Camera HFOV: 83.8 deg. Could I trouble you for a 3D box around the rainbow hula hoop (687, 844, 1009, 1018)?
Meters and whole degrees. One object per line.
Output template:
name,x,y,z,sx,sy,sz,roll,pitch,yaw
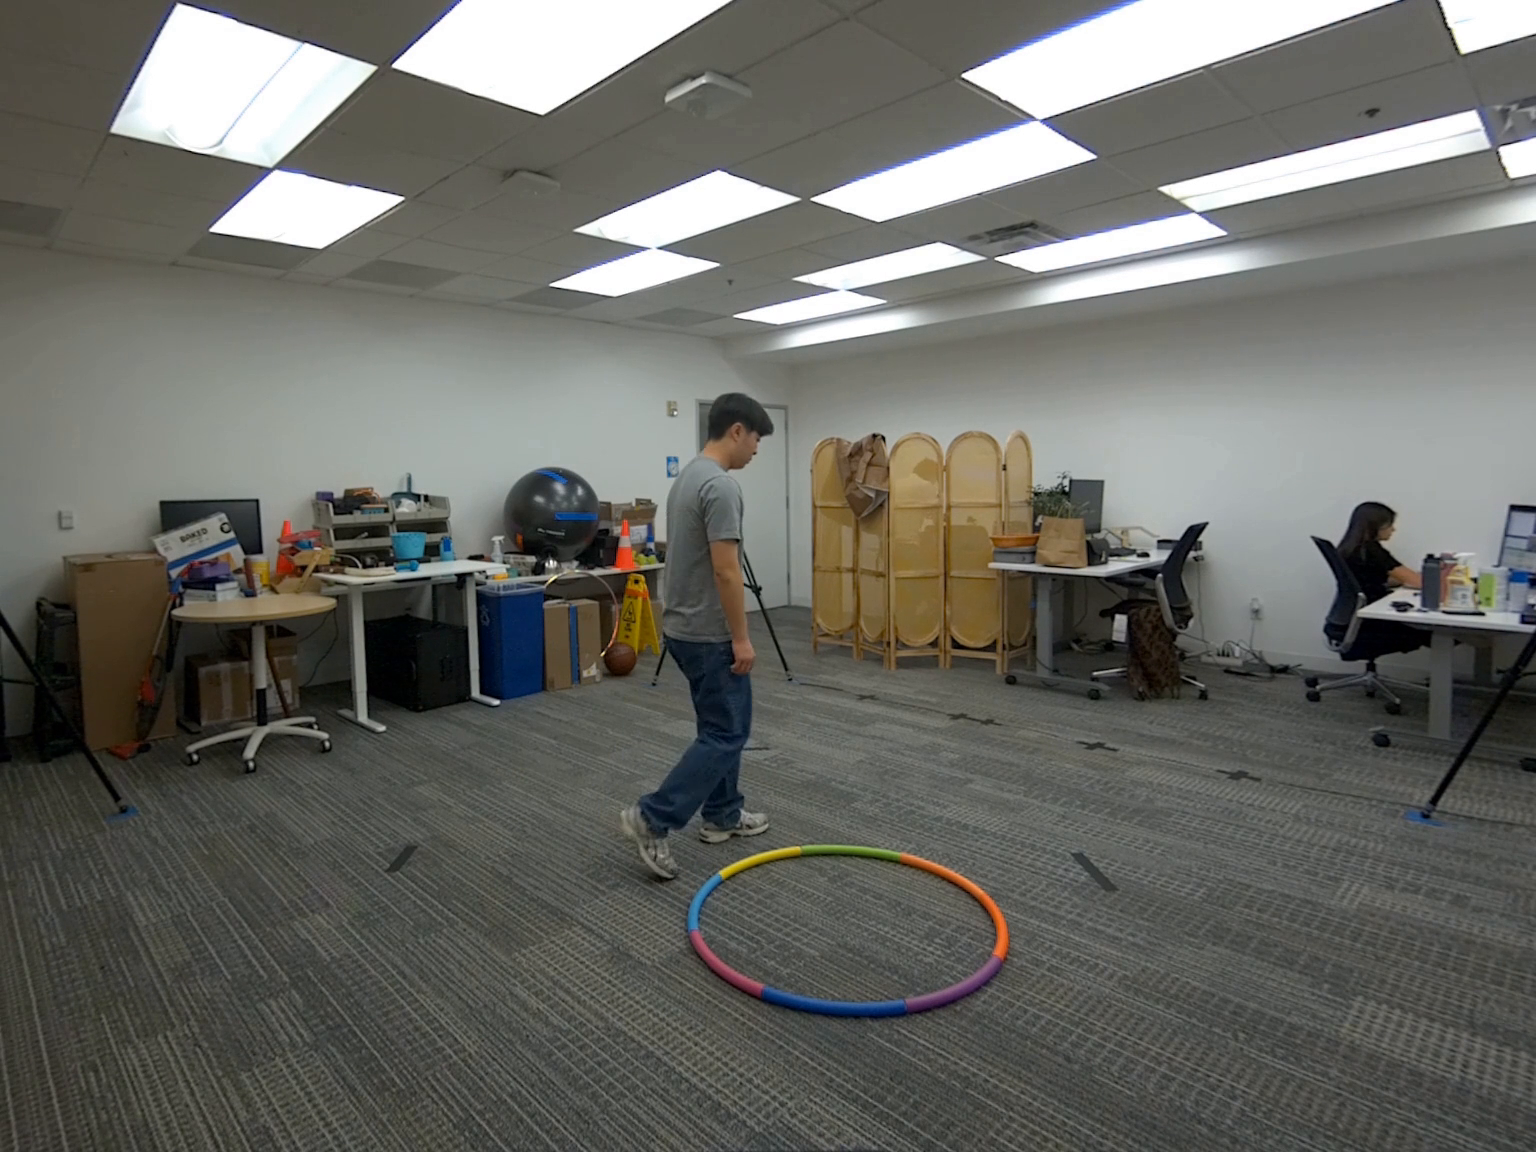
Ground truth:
rainbow hula hoop,0.233,1.061,2.695,0.978,0.035,0.984,-2,7,-2
